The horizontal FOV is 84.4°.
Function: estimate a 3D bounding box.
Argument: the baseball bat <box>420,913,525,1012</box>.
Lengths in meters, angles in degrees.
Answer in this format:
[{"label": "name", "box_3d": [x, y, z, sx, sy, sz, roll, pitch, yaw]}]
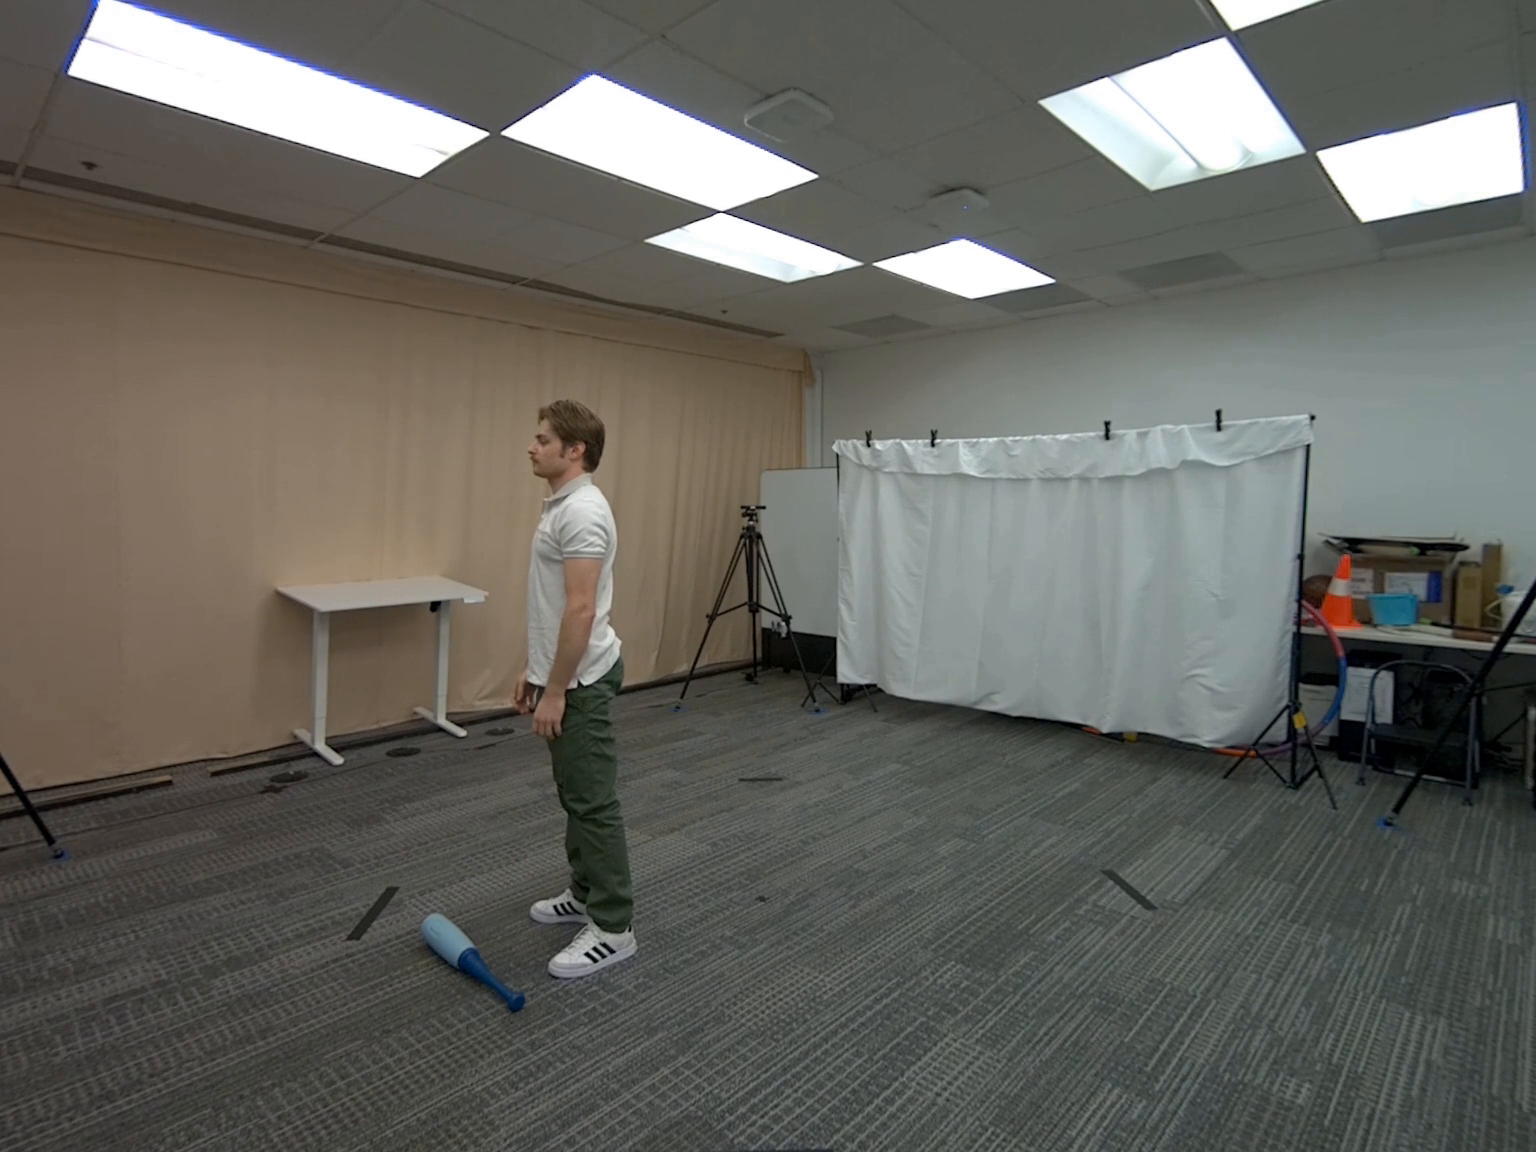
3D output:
[{"label": "baseball bat", "box_3d": [-0.891, 1.158, 2.509, 0.086, 0.089, 0.562, -4, 8, -44]}]
